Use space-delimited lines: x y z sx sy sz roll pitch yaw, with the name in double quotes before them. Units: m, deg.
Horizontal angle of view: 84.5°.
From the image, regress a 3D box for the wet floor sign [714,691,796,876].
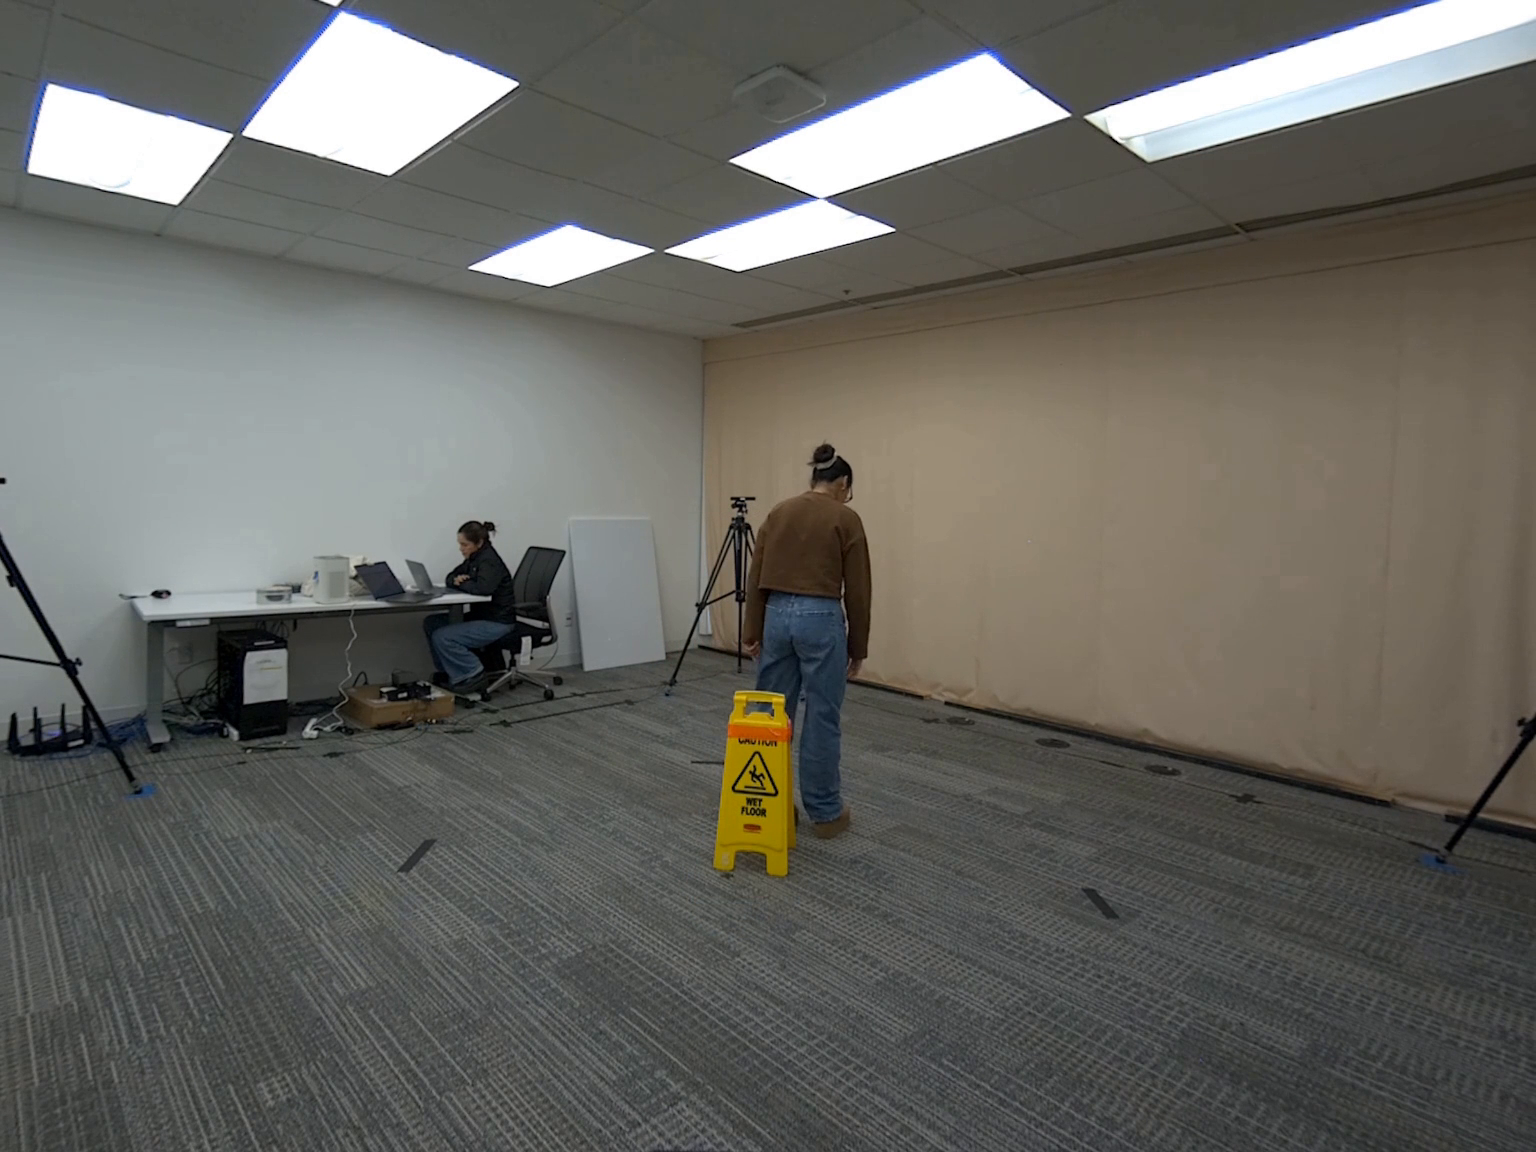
"wet floor sign" -0.055 0.777 3.257 0.285 0.645 0.288 2 3 10
